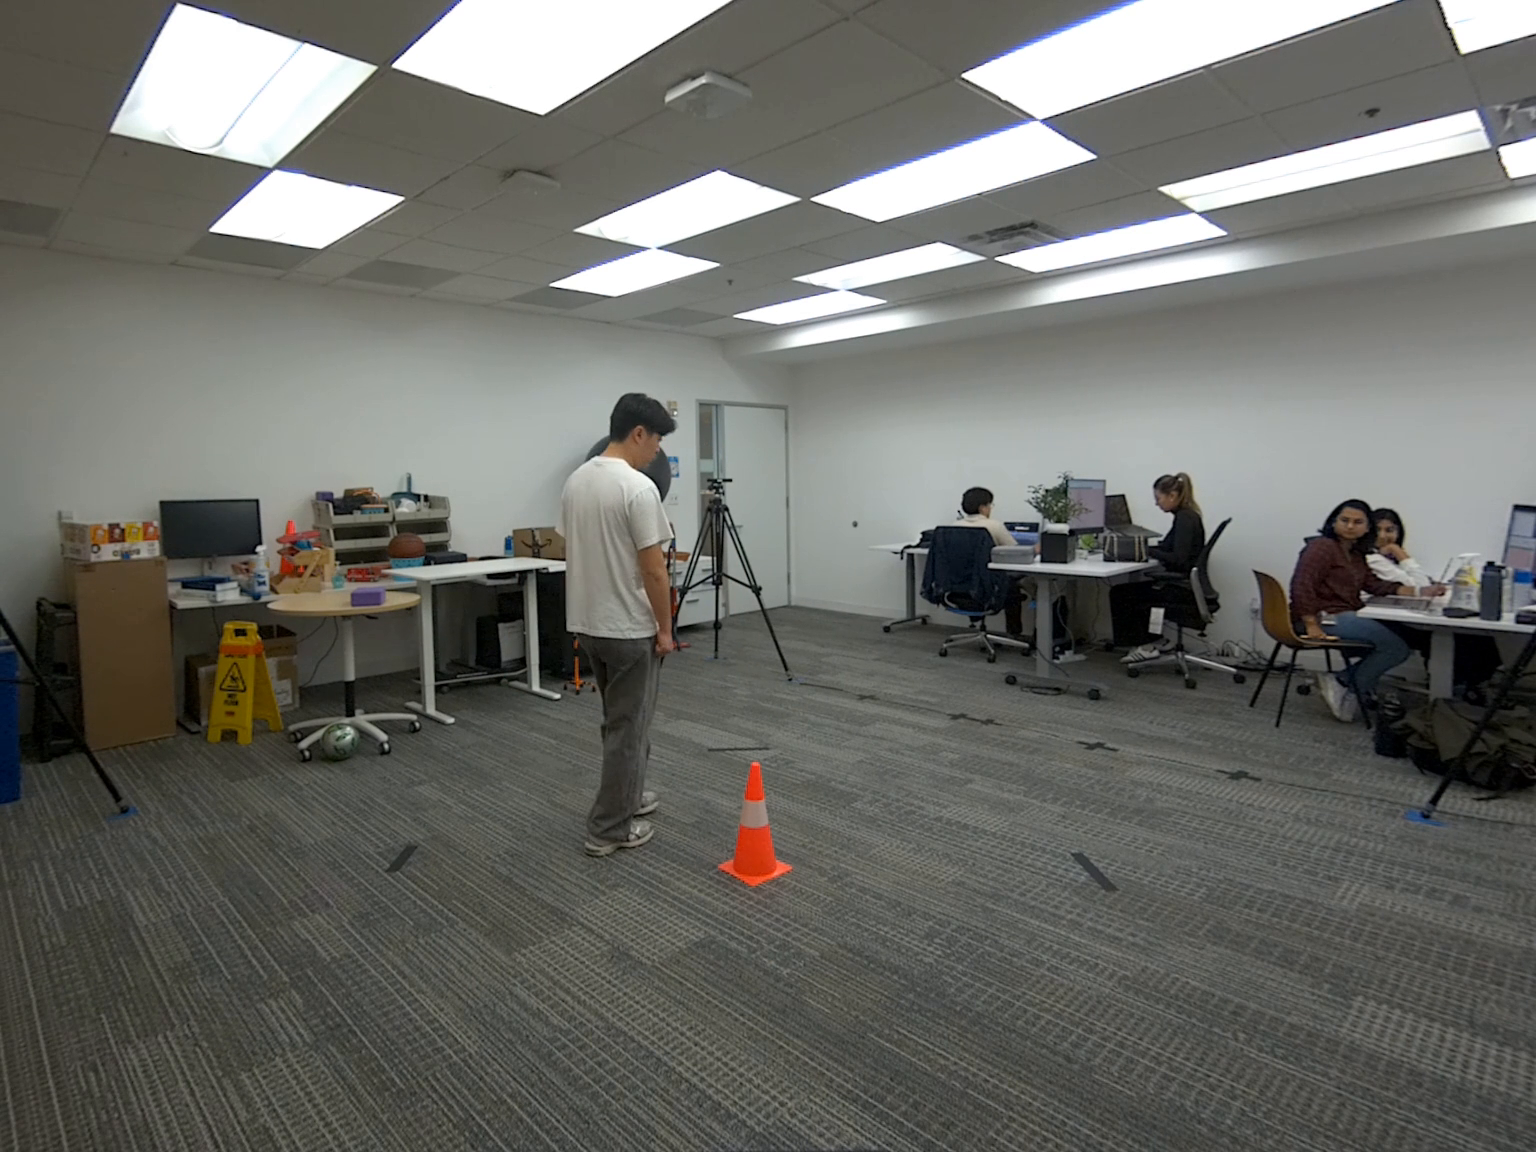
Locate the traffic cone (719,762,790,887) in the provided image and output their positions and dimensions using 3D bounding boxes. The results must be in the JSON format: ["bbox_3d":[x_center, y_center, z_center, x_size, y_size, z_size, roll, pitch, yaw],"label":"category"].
[{"bbox_3d":[-0.045,0.864,3.070,0.198,0.383,0.211,-2,4,-38],"label":"traffic cone"}]
